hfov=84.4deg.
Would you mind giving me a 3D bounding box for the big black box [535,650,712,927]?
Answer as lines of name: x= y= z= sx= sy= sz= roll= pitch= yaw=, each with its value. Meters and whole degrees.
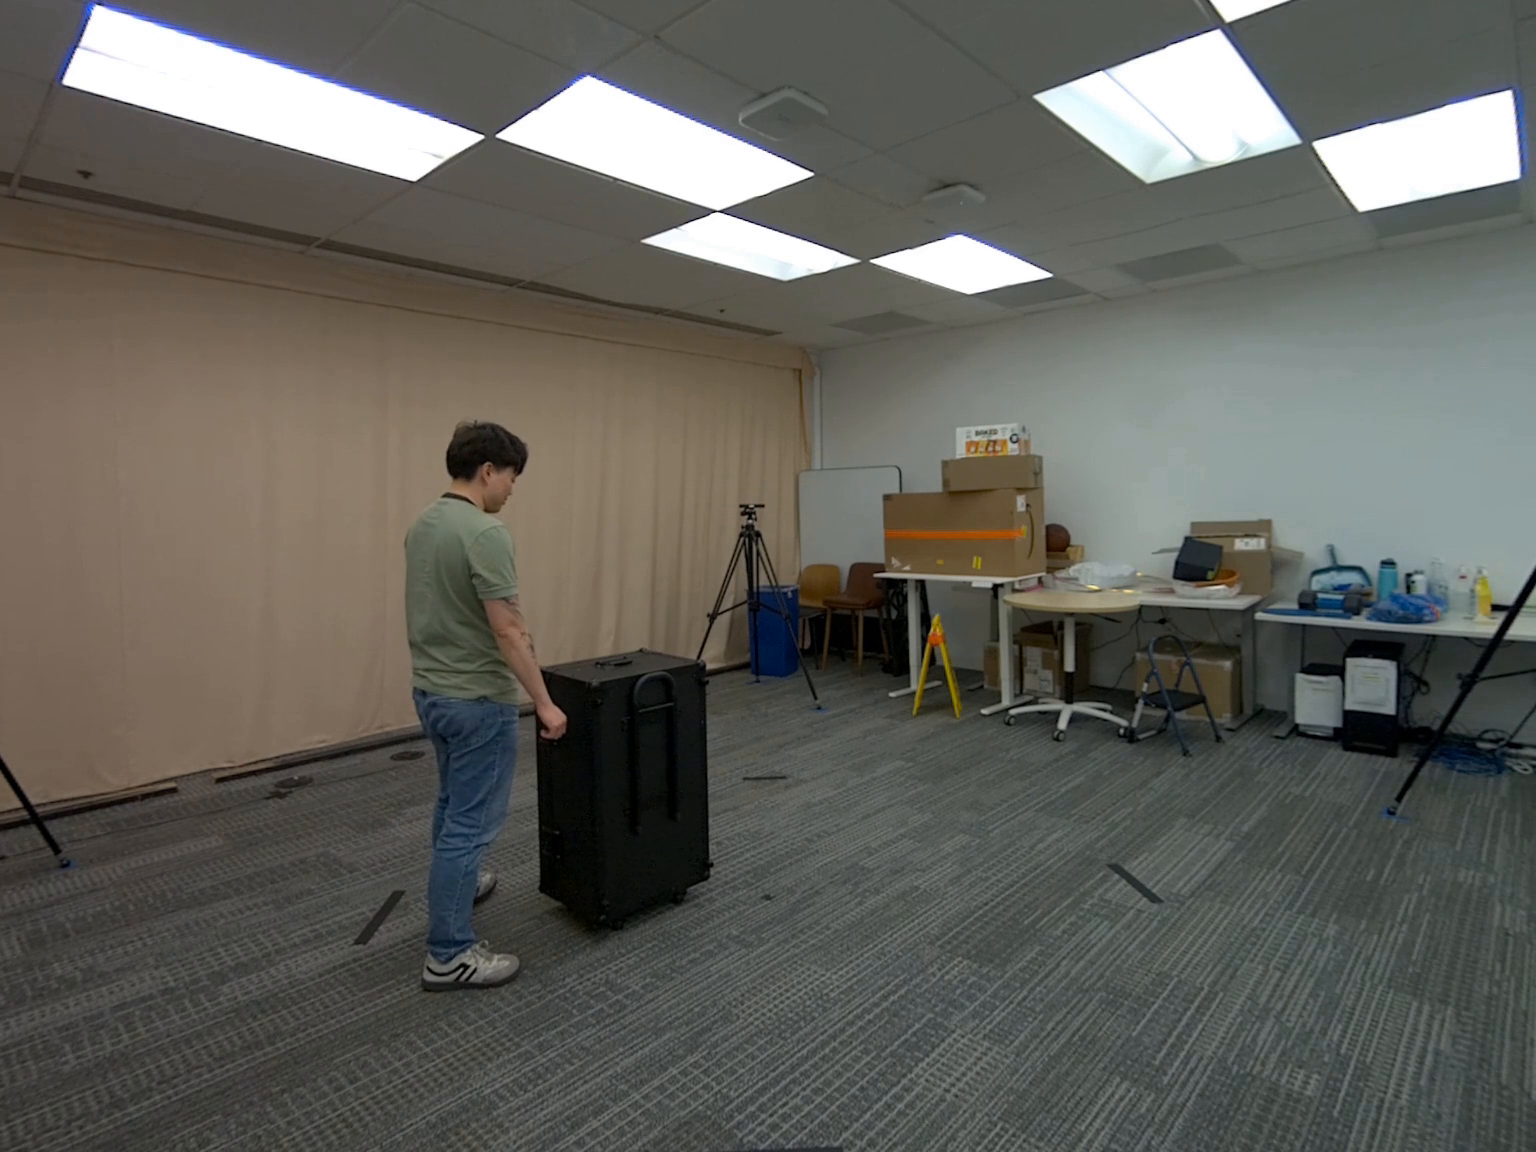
big black box: x=-0.488 y=0.730 z=2.928 sx=0.505 sy=0.859 sz=0.409 roll=-4 pitch=6 yaw=-45
